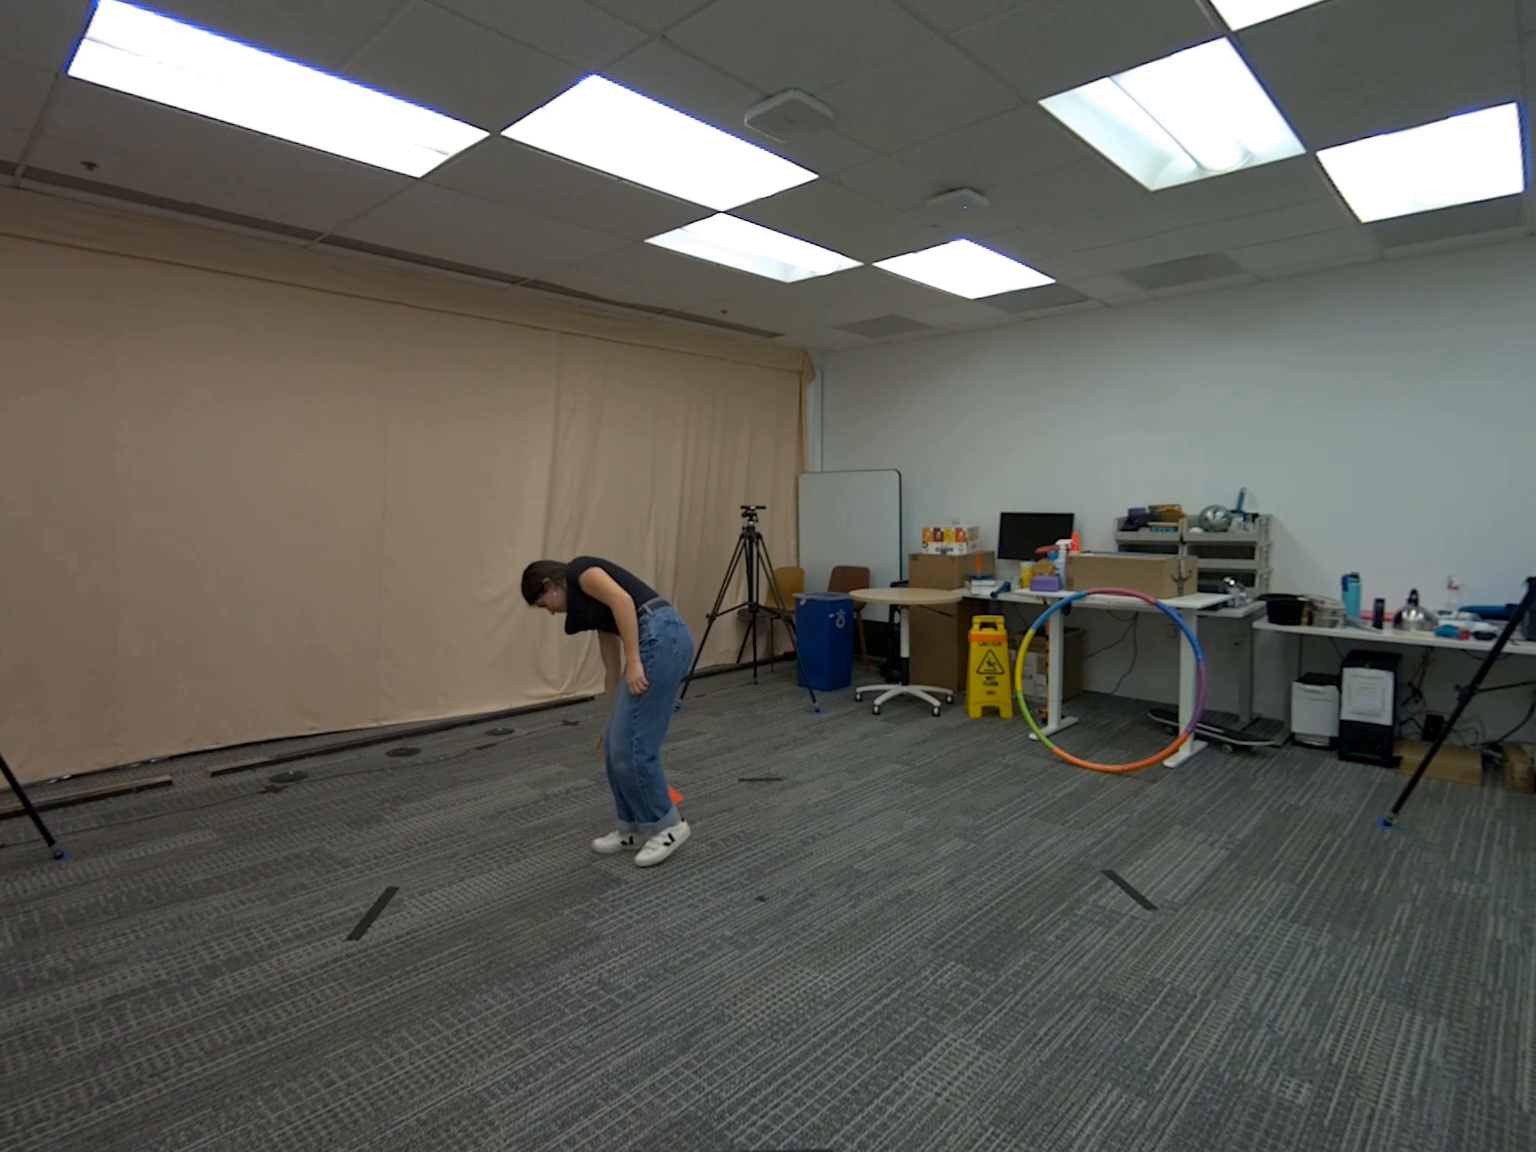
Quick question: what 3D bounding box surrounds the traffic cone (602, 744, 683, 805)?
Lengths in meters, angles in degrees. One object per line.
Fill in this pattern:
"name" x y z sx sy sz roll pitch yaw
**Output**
"traffic cone" -0.585 0.888 3.667 0.204 0.377 0.208 -41 17 -15
